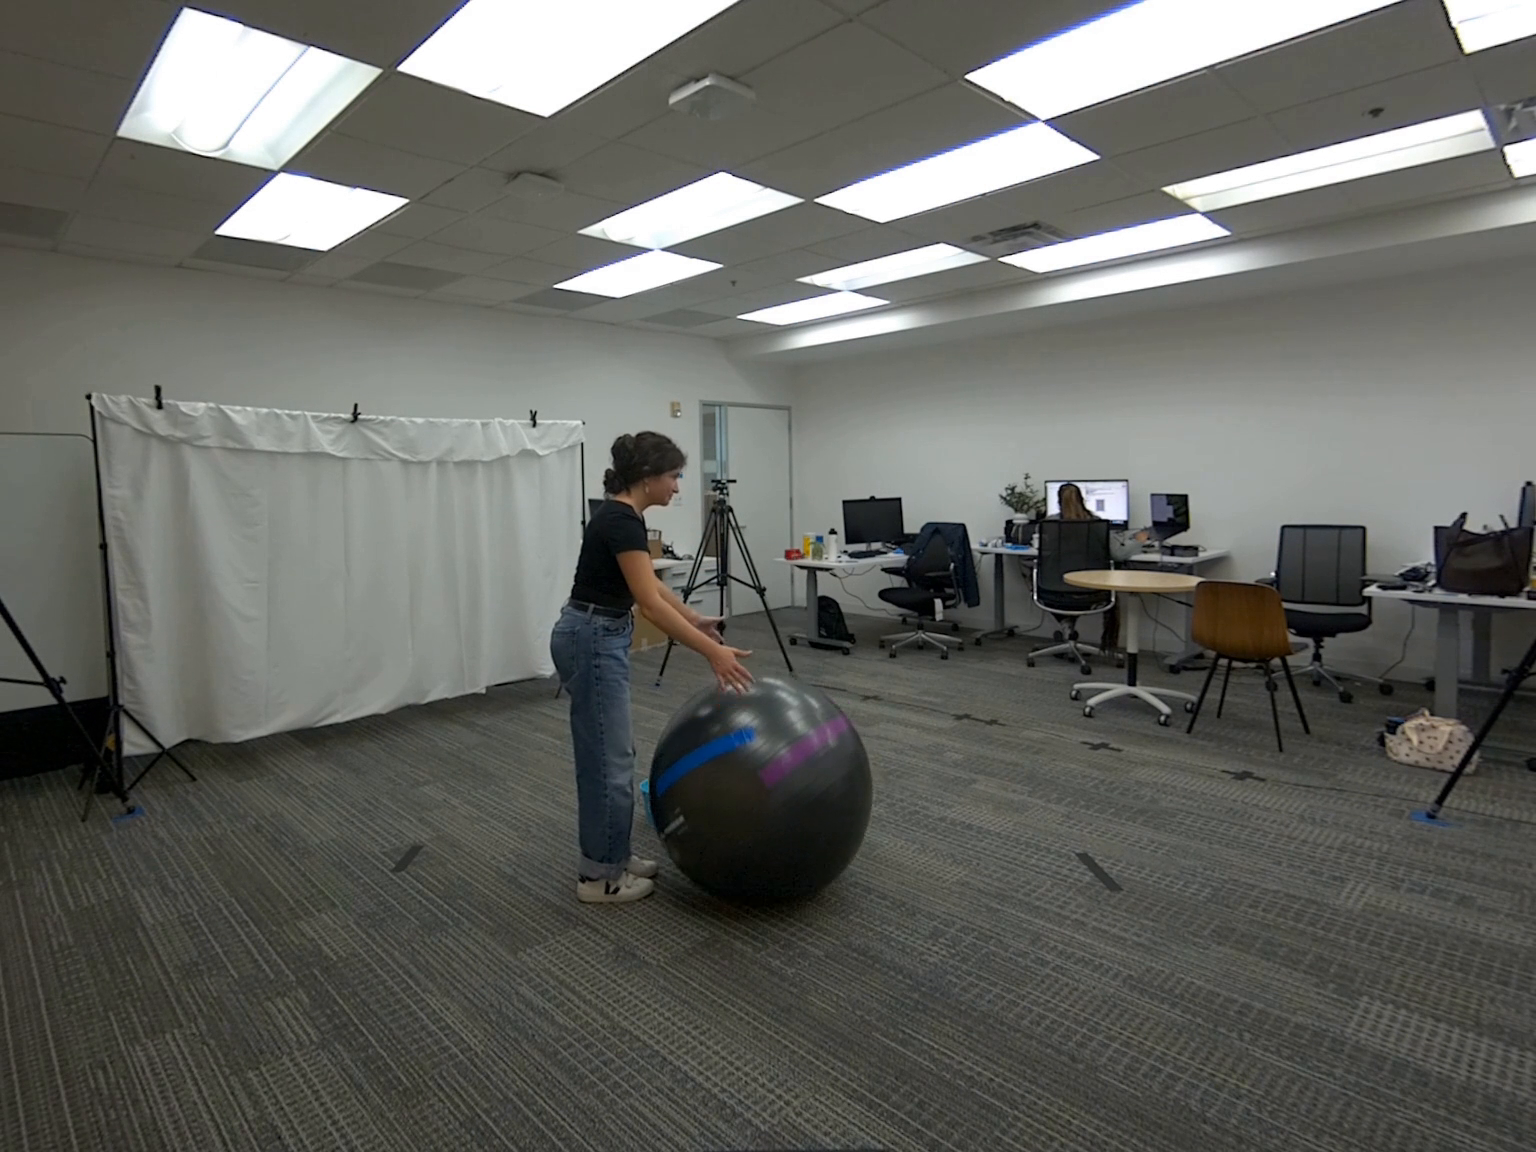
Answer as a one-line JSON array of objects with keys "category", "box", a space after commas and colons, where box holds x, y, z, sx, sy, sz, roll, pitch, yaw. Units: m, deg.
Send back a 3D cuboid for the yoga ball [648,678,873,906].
[{"category": "yoga ball", "box": [-0.023, 0.642, 2.915, 0.757, 0.755, 0.762, -1, 5, -2]}]
